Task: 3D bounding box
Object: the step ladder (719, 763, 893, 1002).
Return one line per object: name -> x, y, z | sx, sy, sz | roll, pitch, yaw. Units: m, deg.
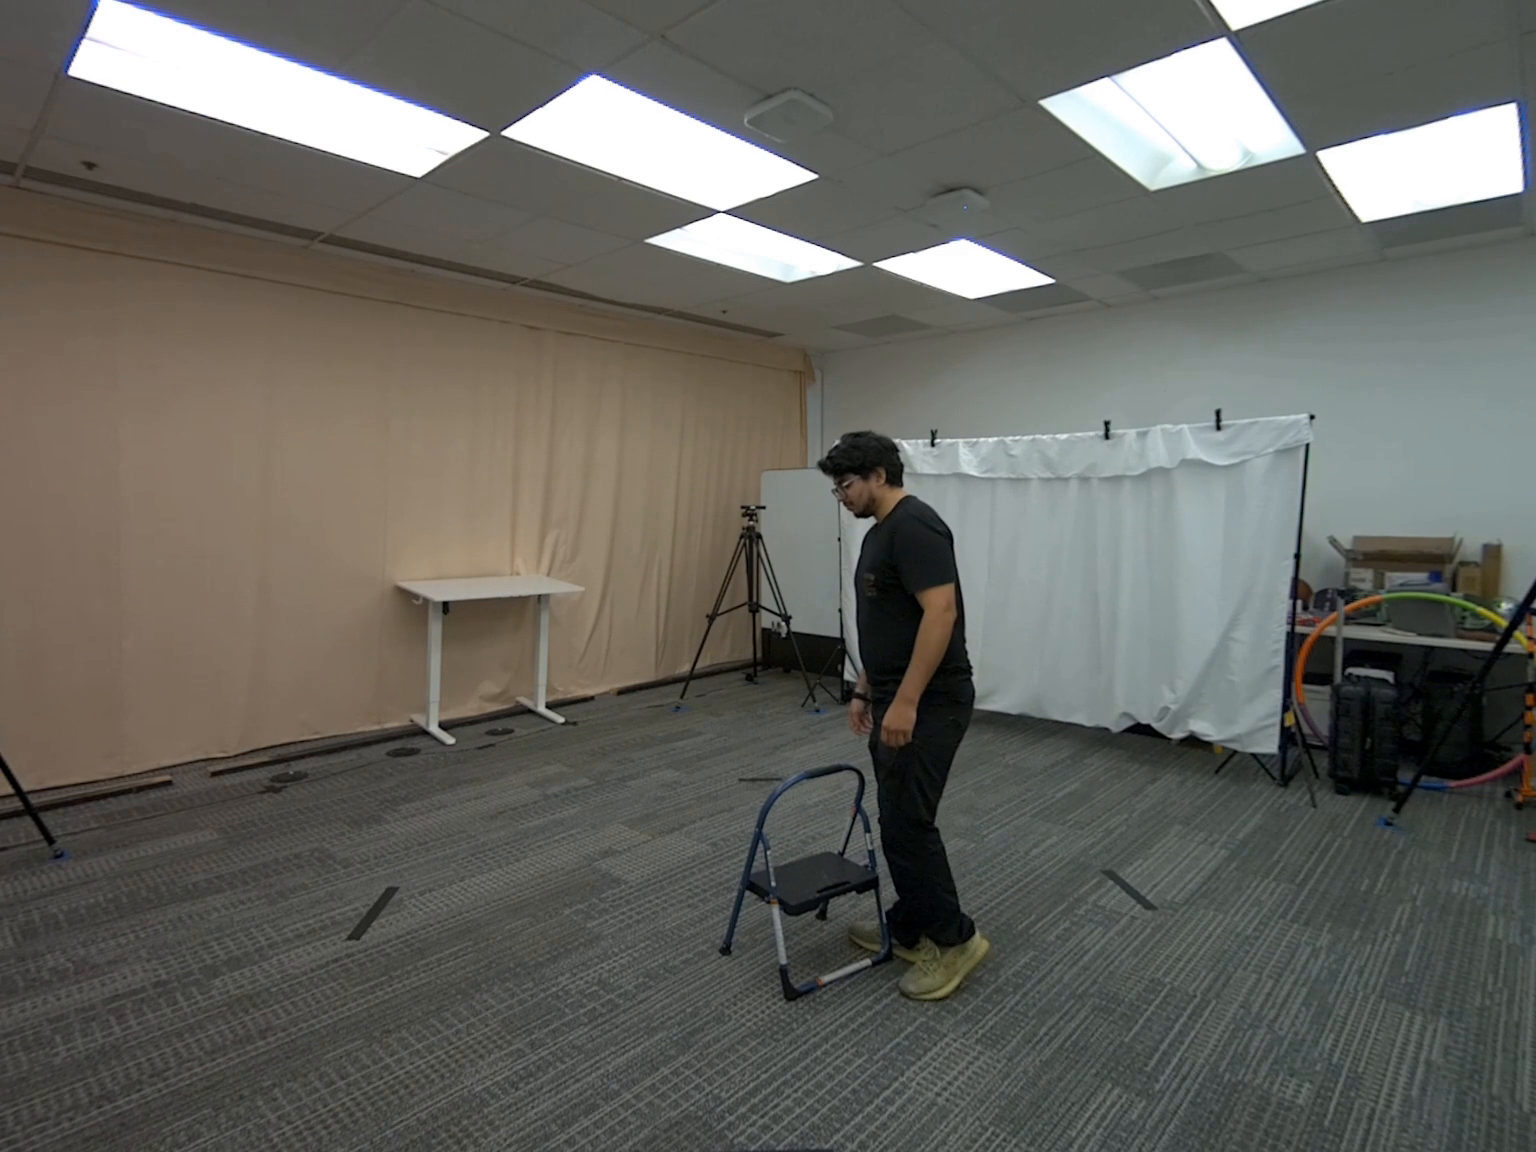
step ladder -> 0.120, 0.875, 2.594 | 0.418, 0.605, 0.360 | -3, 4, -36
